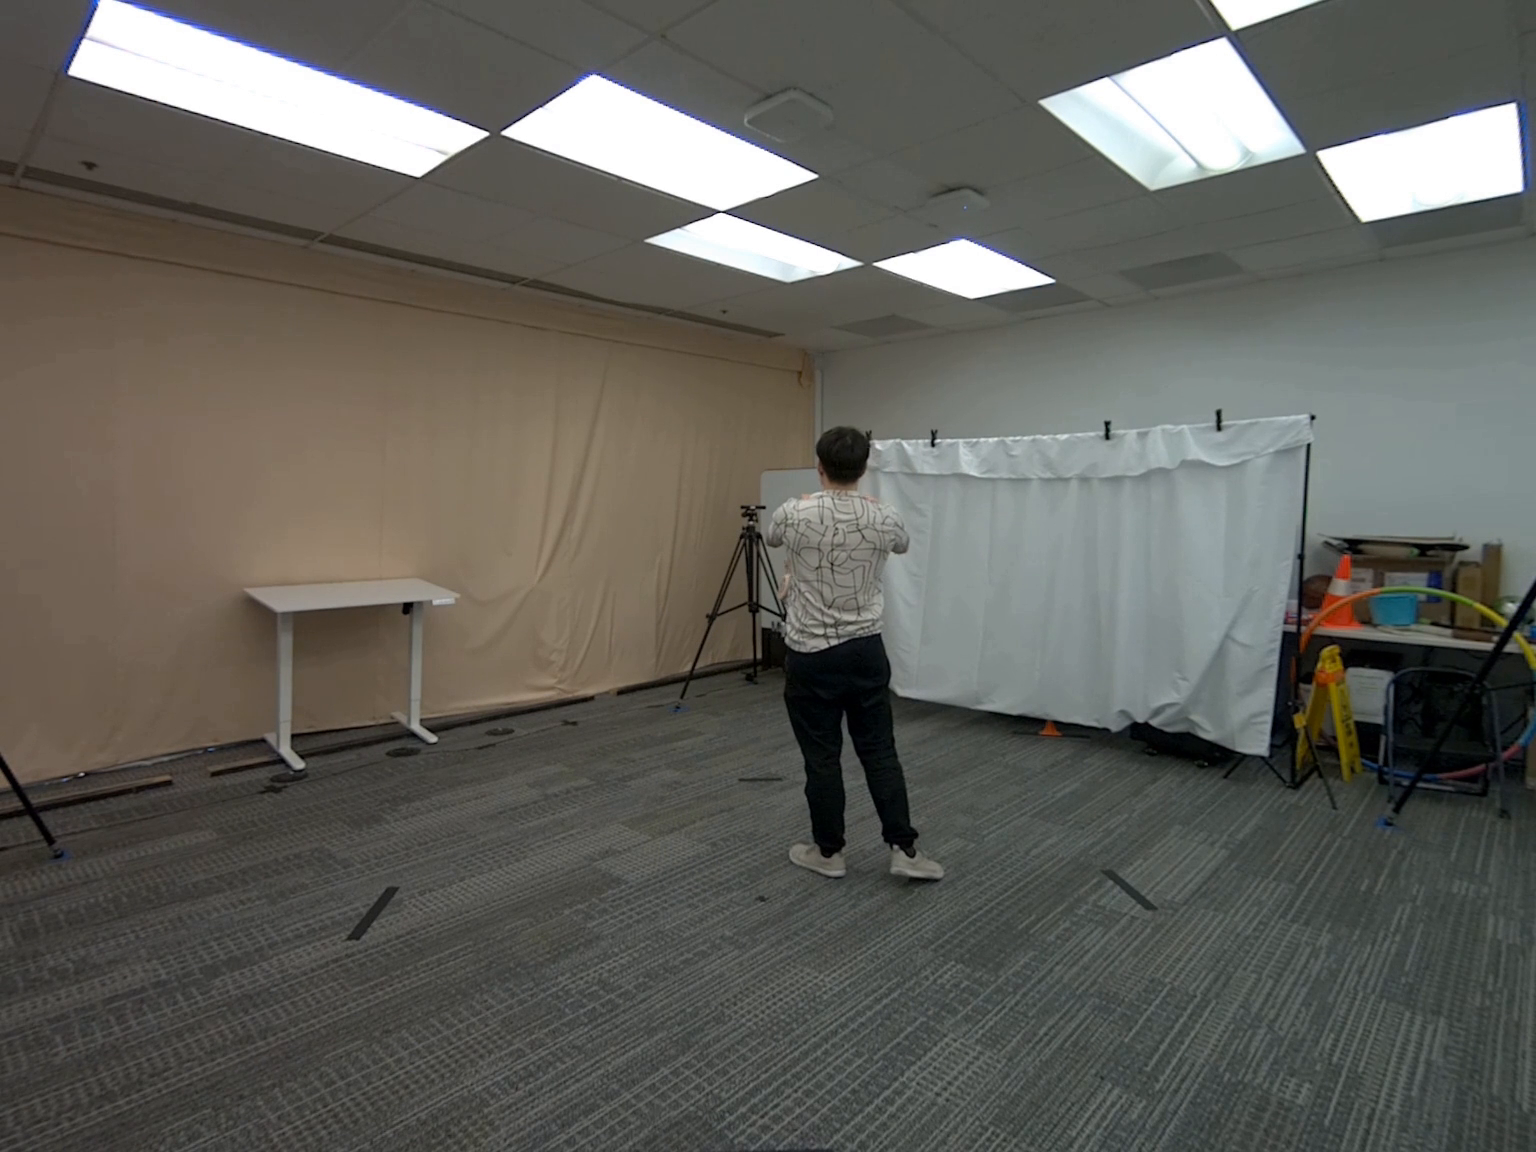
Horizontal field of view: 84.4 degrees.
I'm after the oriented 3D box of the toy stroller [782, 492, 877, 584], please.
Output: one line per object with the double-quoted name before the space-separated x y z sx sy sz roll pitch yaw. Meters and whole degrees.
"toy stroller" 0.213 -0.057 3.677 0.279 0.538 0.342 12 -13 -8
